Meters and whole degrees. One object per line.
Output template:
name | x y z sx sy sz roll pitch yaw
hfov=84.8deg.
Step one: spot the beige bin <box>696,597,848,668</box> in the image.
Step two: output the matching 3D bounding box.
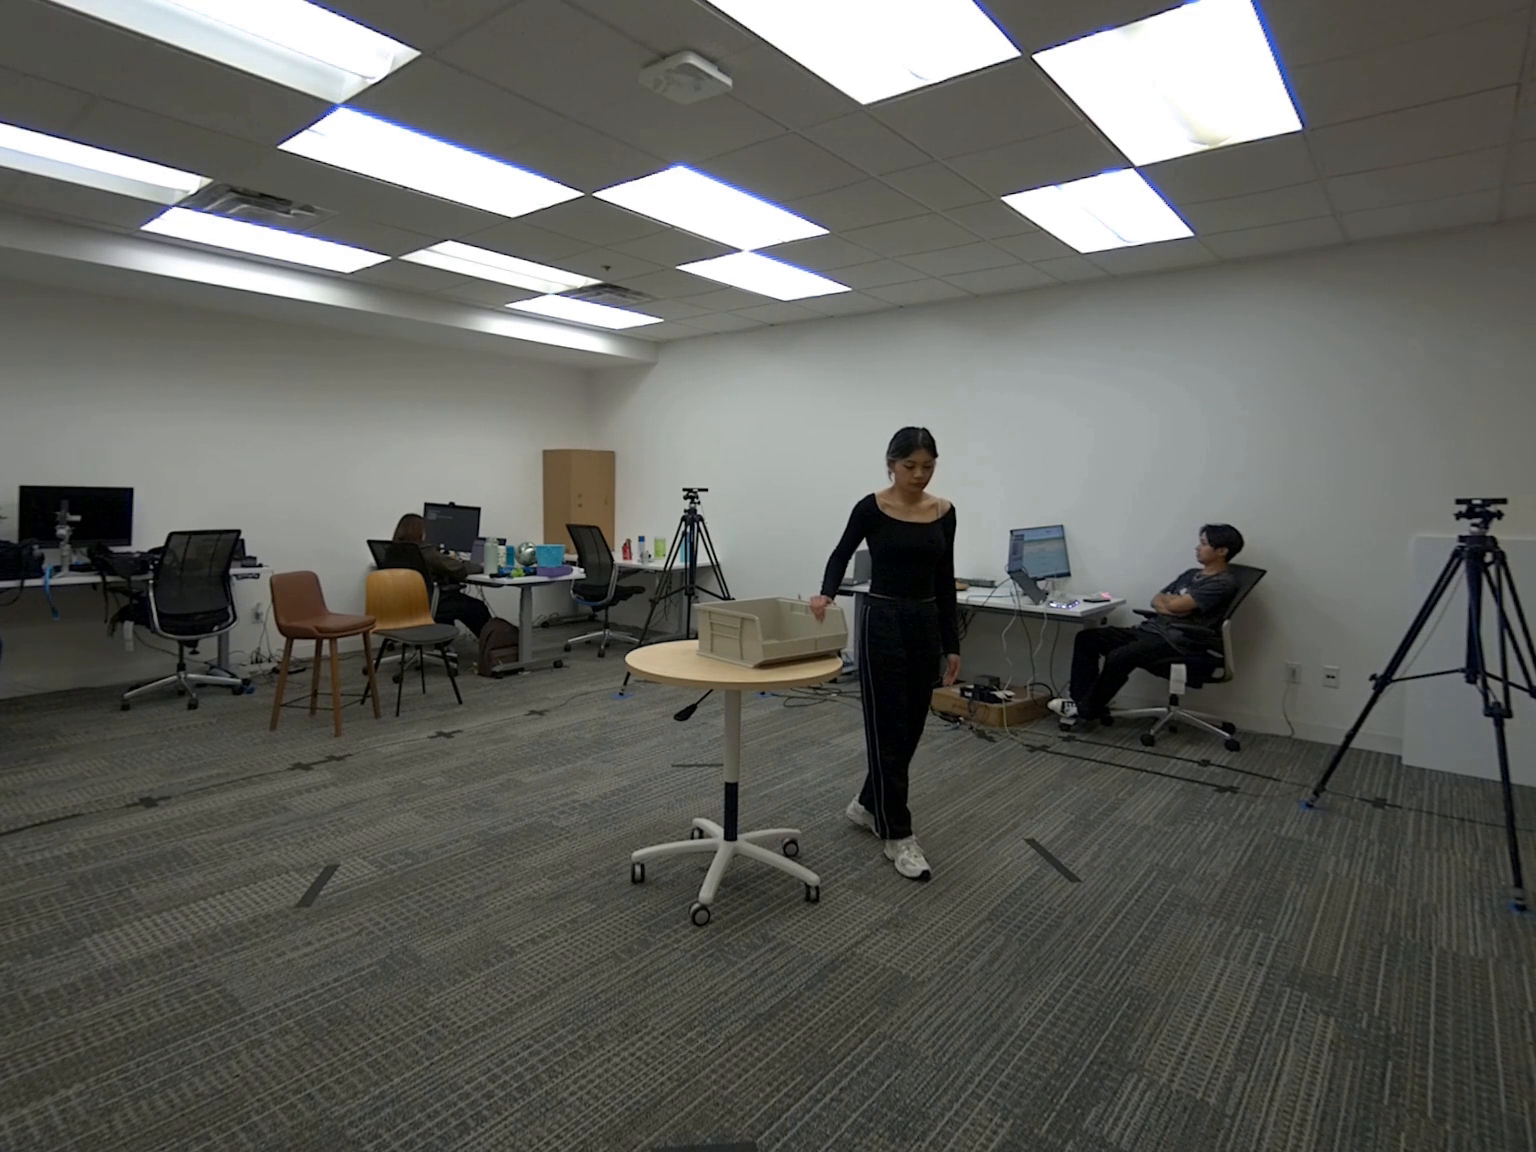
beige bin | 0.003 0.194 3.060 0.410 0.188 0.390 -5 6 -41
